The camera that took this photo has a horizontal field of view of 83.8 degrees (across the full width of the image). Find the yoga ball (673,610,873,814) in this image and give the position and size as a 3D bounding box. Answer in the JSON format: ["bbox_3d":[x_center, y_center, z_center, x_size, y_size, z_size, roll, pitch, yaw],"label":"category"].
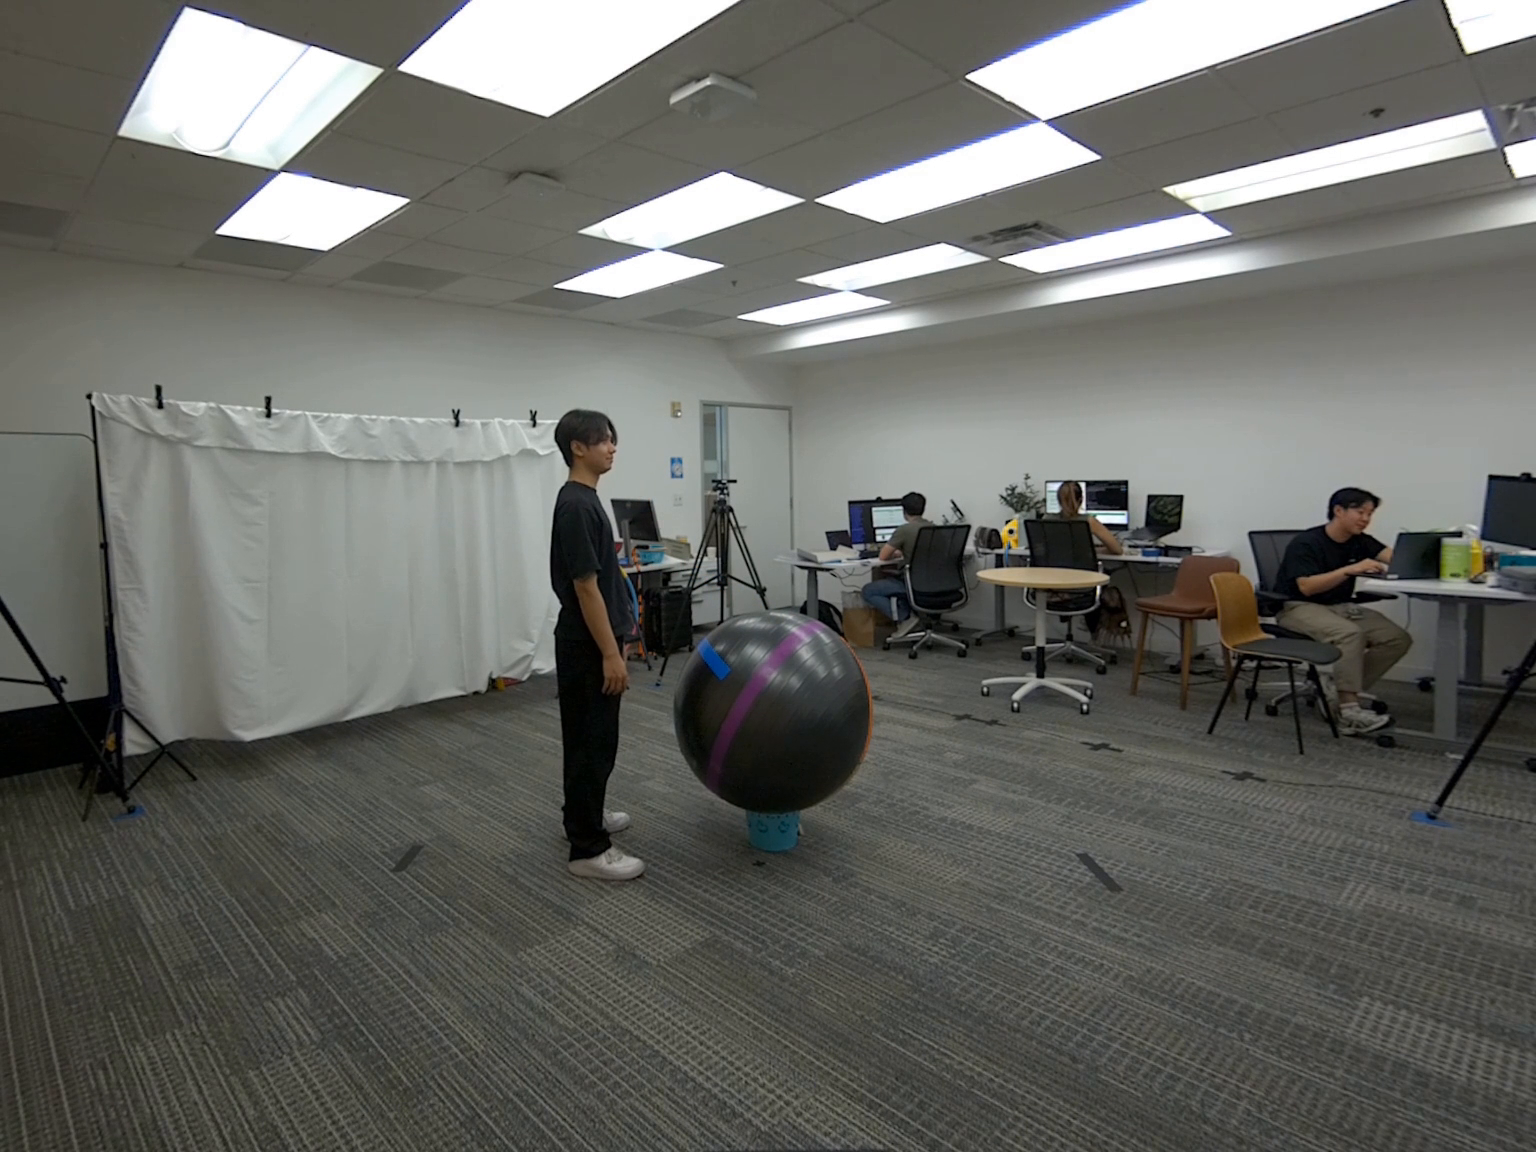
[{"bbox_3d":[0.028,0.518,3.277,0.757,0.755,0.762,-1,5,-2],"label":"yoga ball"}]
